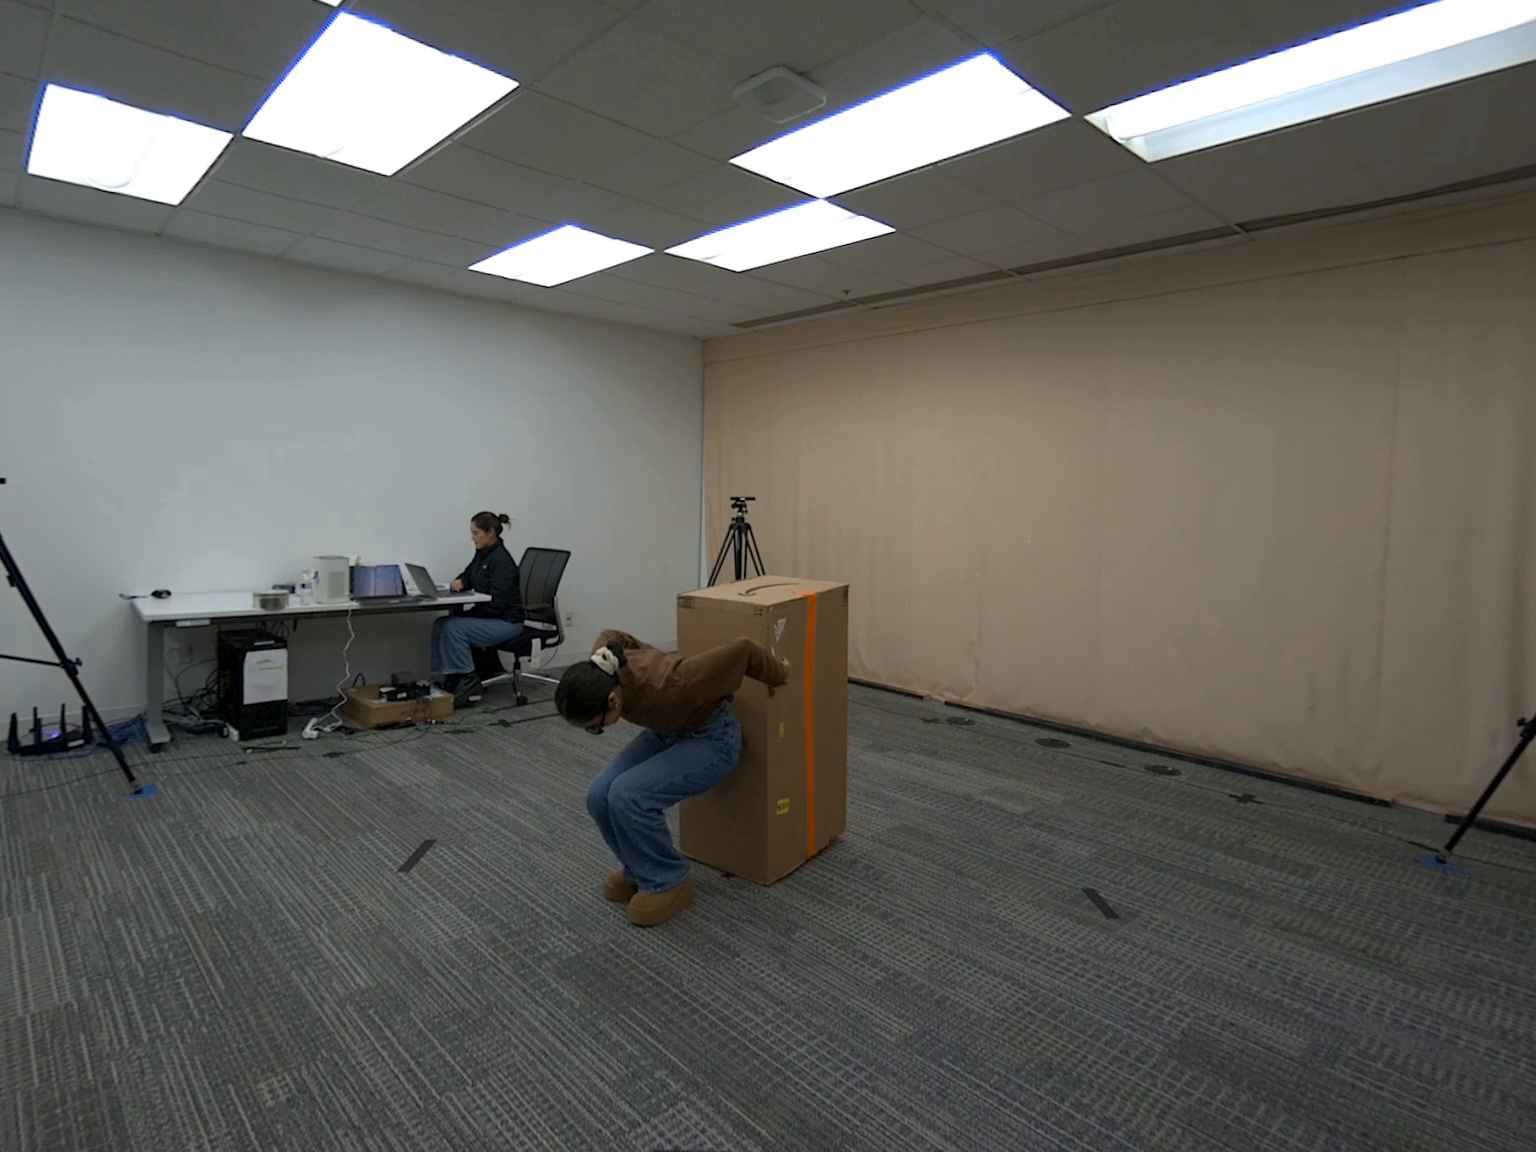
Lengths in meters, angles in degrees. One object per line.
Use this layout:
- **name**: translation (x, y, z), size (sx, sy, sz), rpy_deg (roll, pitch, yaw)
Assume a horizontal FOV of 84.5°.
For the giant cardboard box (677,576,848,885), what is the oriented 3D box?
- **giant cardboard box**: translation (-0.013, 0.556, 3.310), size (0.457, 1.023, 0.572), rpy_deg (3, 7, 35)
